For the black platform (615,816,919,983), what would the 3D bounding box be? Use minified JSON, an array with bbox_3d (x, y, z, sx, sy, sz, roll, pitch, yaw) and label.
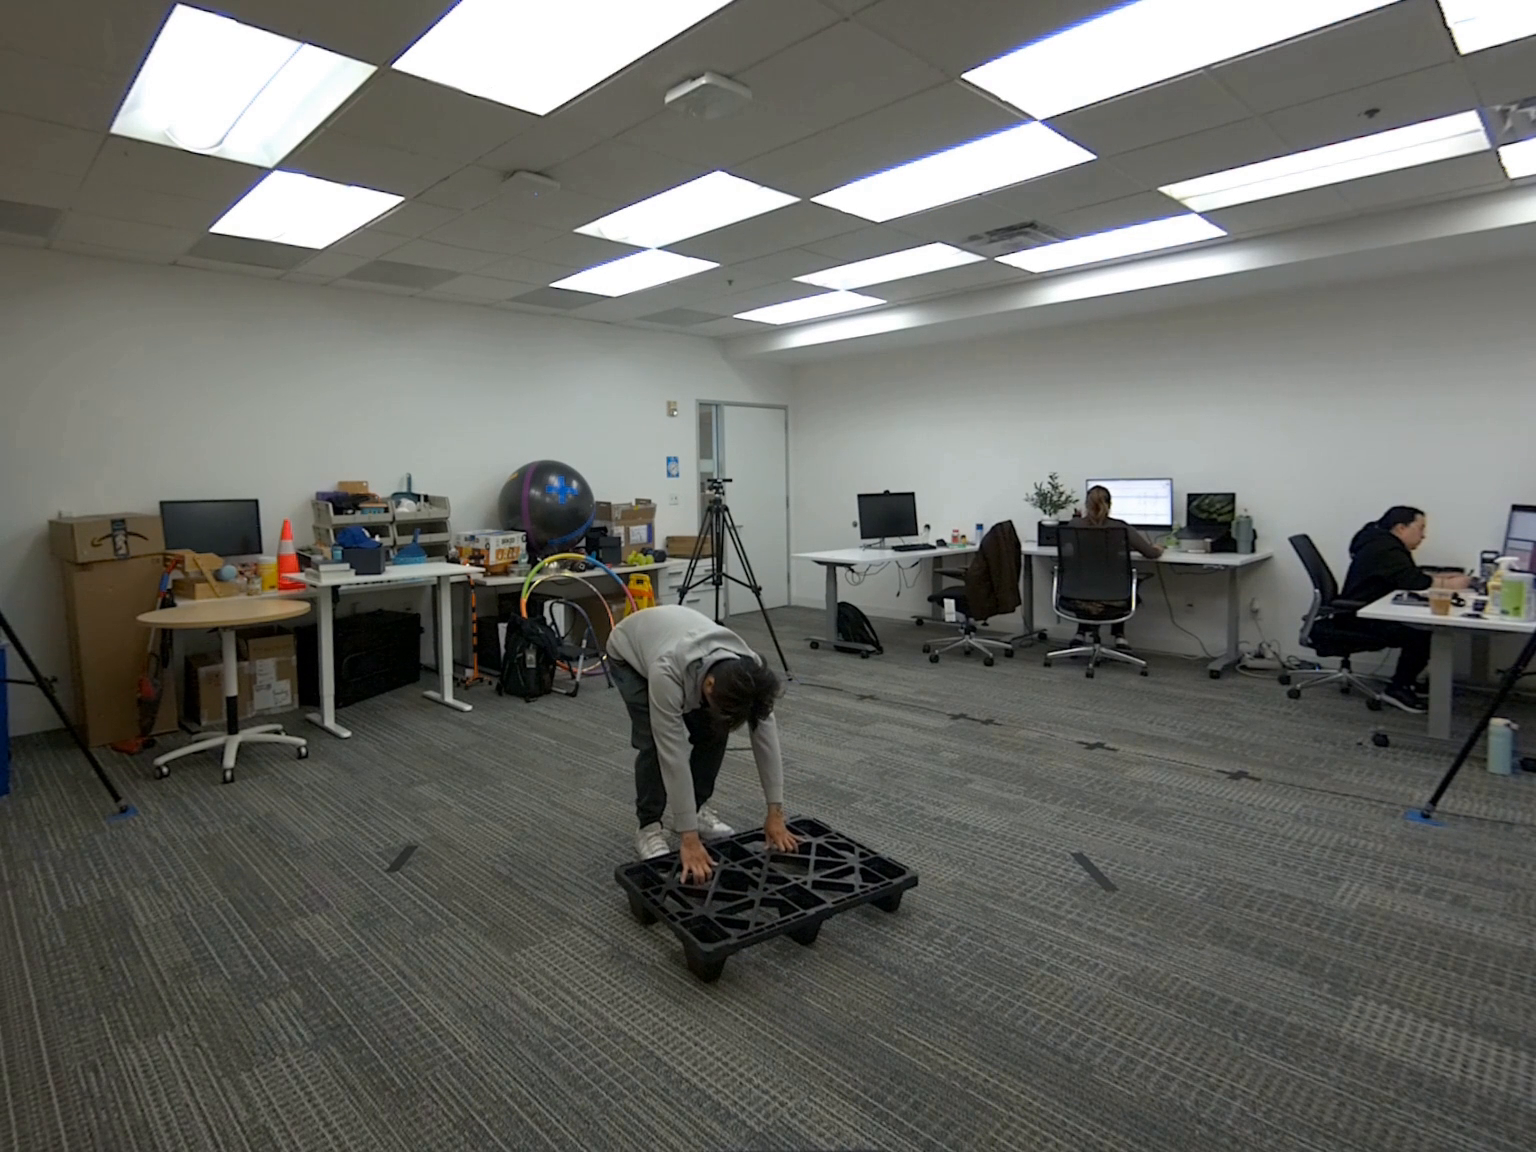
[{"bbox_3d":[-0.009,1.019,2.756,0.786,0.143,0.623,-5,7,-33],"label":"black platform"}]
